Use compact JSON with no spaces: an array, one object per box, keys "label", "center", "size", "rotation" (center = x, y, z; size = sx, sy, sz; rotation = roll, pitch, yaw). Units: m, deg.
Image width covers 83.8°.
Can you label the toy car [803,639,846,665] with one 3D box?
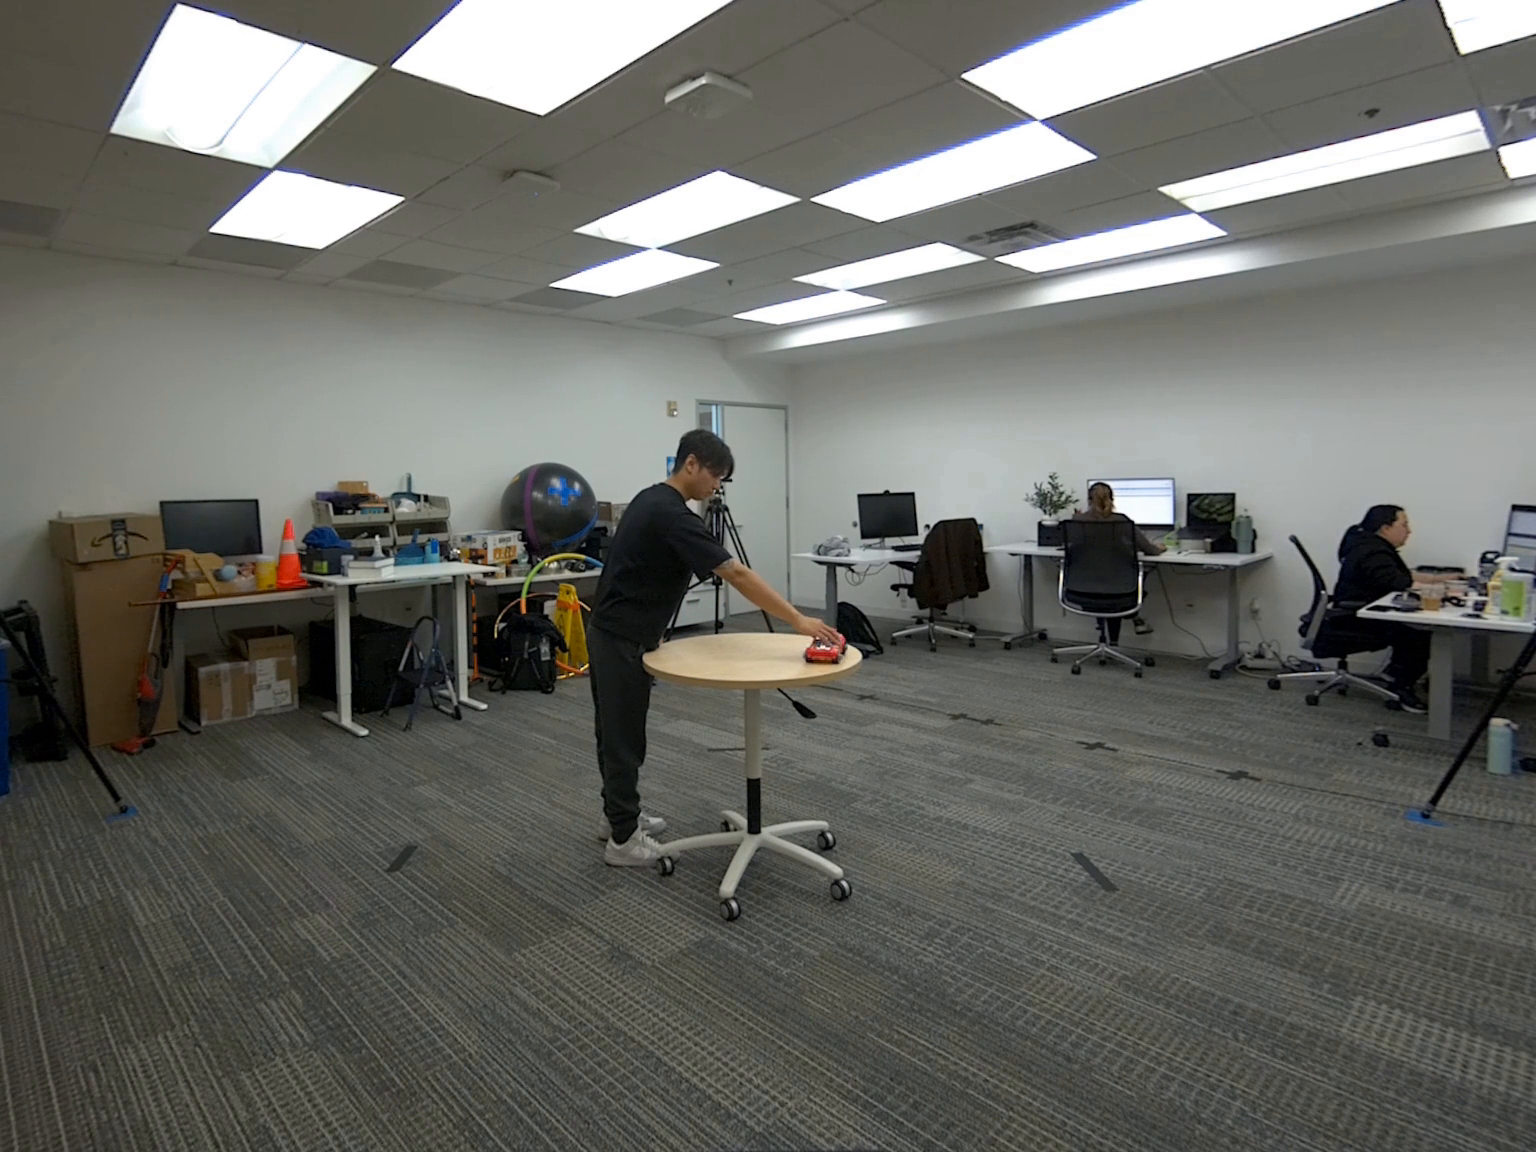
[{"label":"toy car","center":[0.210,0.249,2.932],"size":[0.132,0.082,0.255],"rotation":[0,19,14]}]
